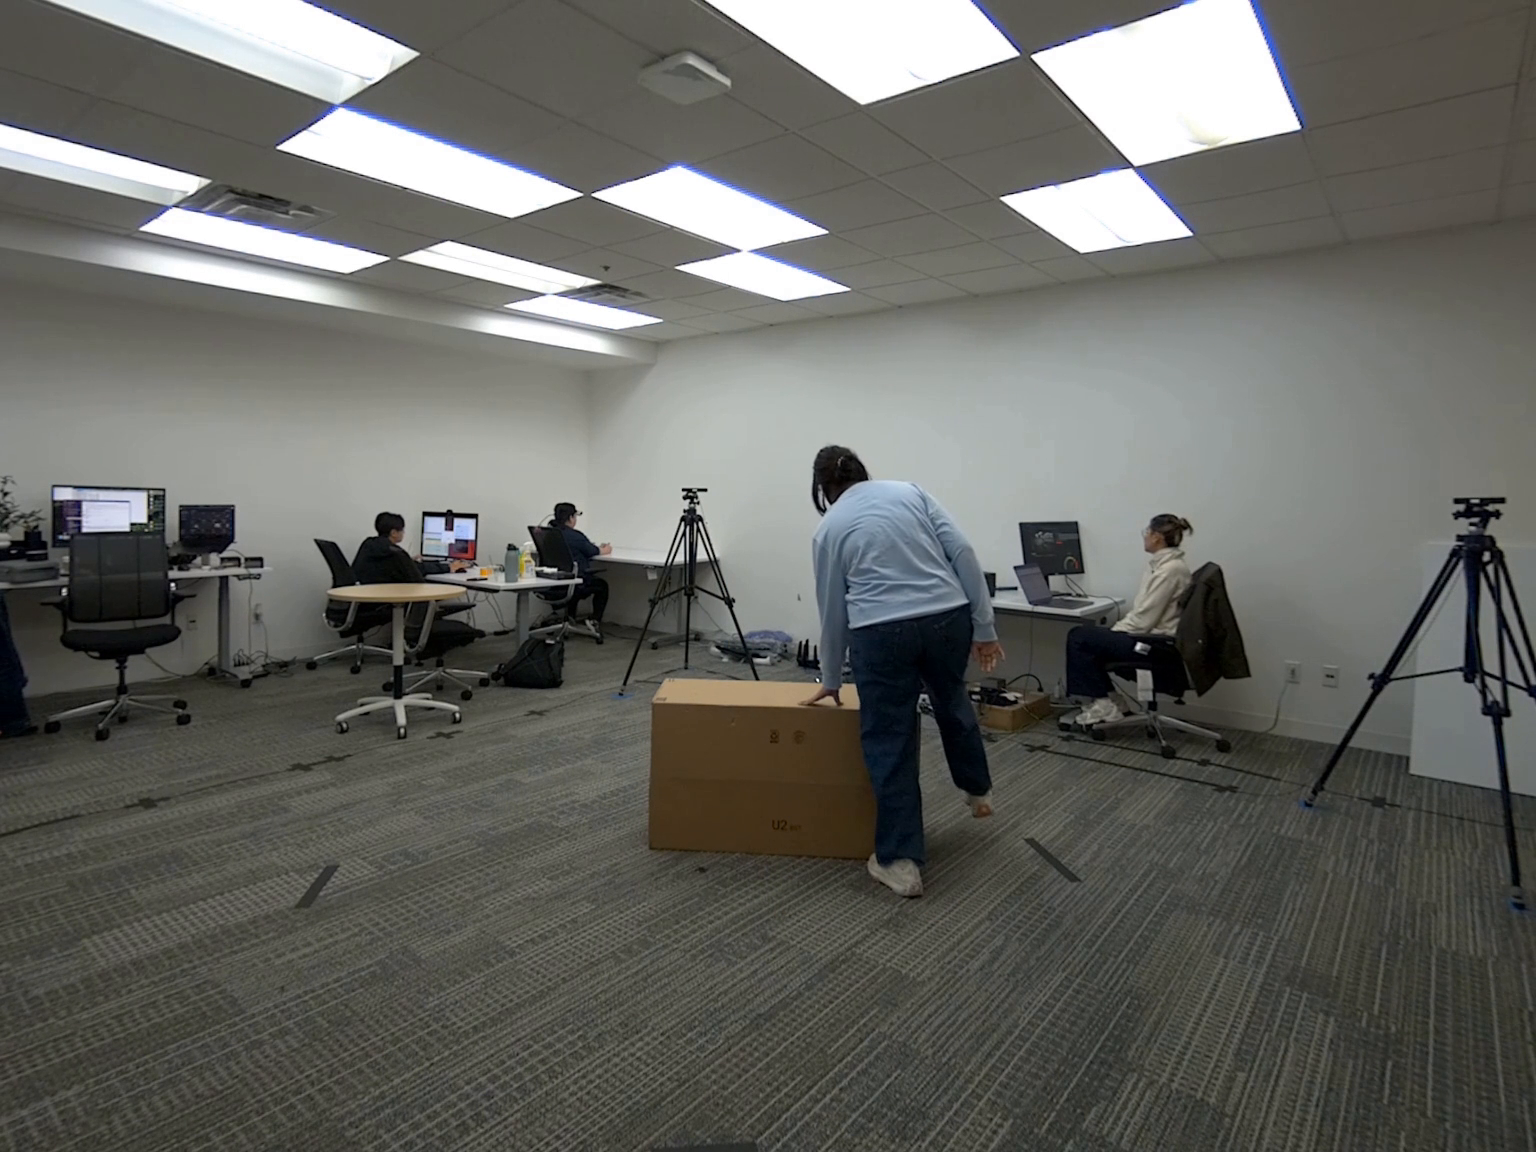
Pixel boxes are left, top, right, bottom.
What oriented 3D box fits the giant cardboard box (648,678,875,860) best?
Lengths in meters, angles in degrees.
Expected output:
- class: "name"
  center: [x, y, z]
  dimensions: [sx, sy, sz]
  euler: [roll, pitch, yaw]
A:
- class: "giant cardboard box"
  center: [0.047, 0.752, 3.438]
  dimensions: [1.030, 0.576, 0.426]
  euler: [1, 3, 3]
